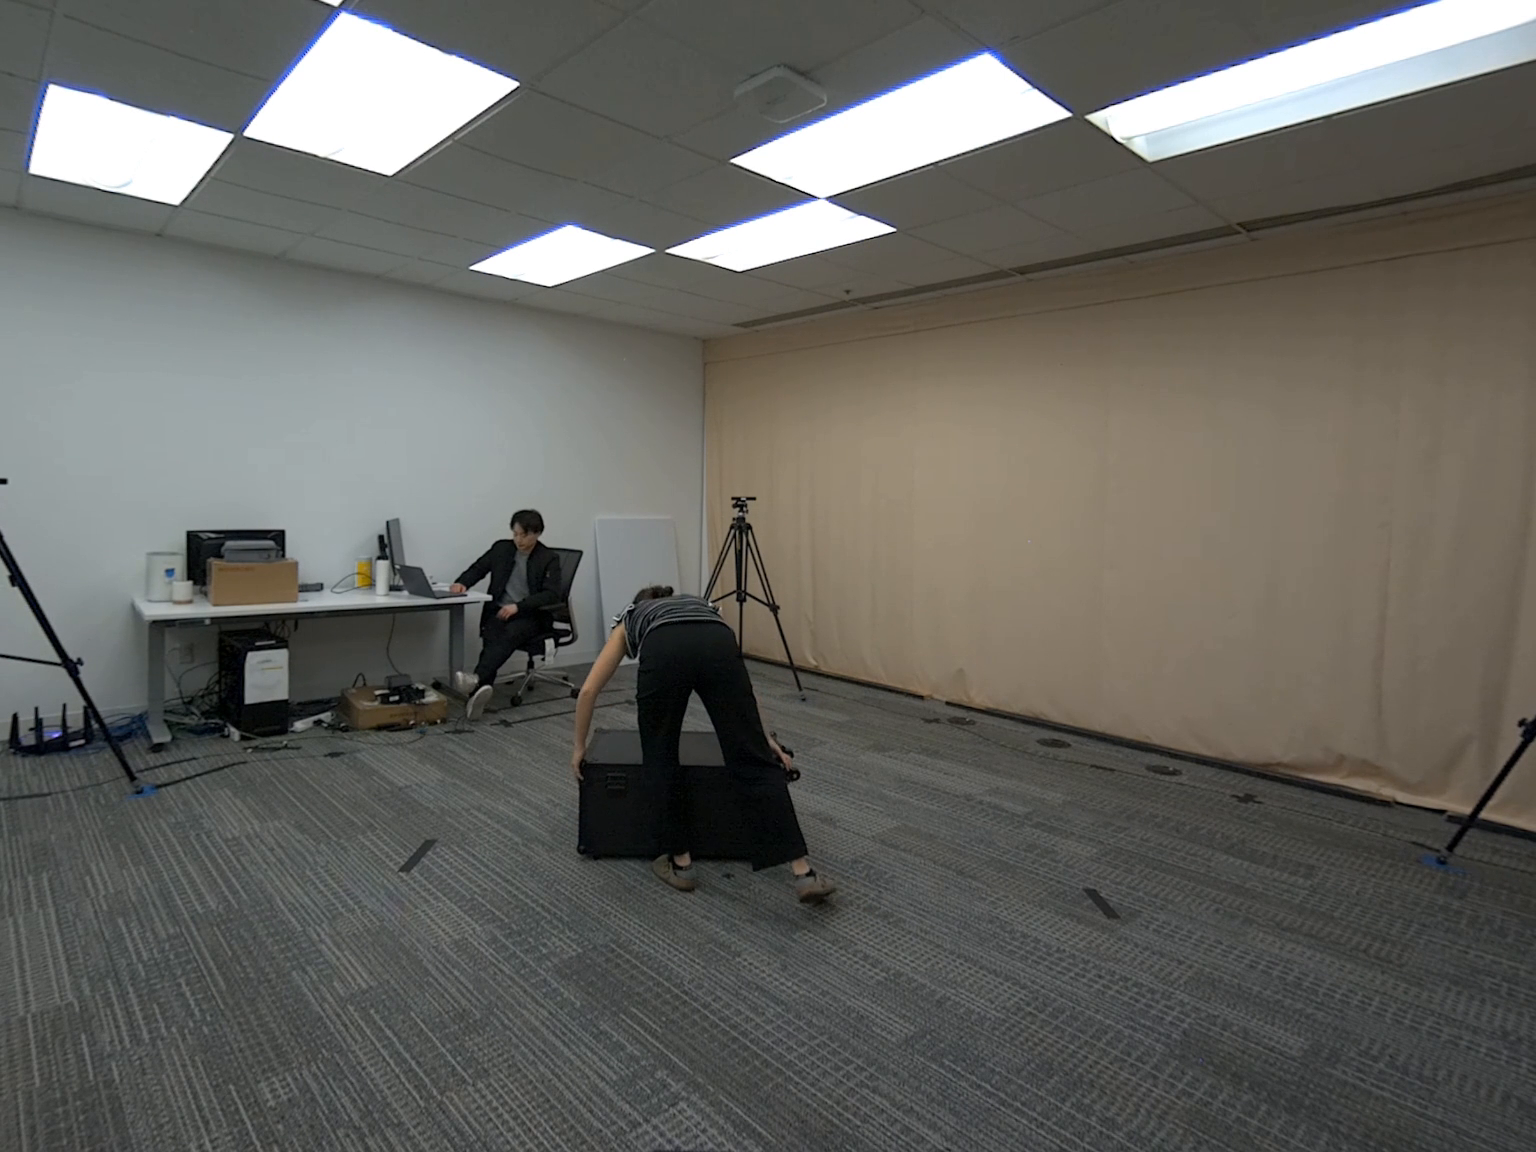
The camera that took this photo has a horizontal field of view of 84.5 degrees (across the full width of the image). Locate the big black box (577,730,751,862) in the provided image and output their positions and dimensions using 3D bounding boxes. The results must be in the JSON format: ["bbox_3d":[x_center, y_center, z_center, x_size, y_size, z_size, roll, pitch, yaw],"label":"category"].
[{"bbox_3d":[-0.320,0.882,3.438,0.859,0.395,0.524,1,4,-3],"label":"big black box"}]
